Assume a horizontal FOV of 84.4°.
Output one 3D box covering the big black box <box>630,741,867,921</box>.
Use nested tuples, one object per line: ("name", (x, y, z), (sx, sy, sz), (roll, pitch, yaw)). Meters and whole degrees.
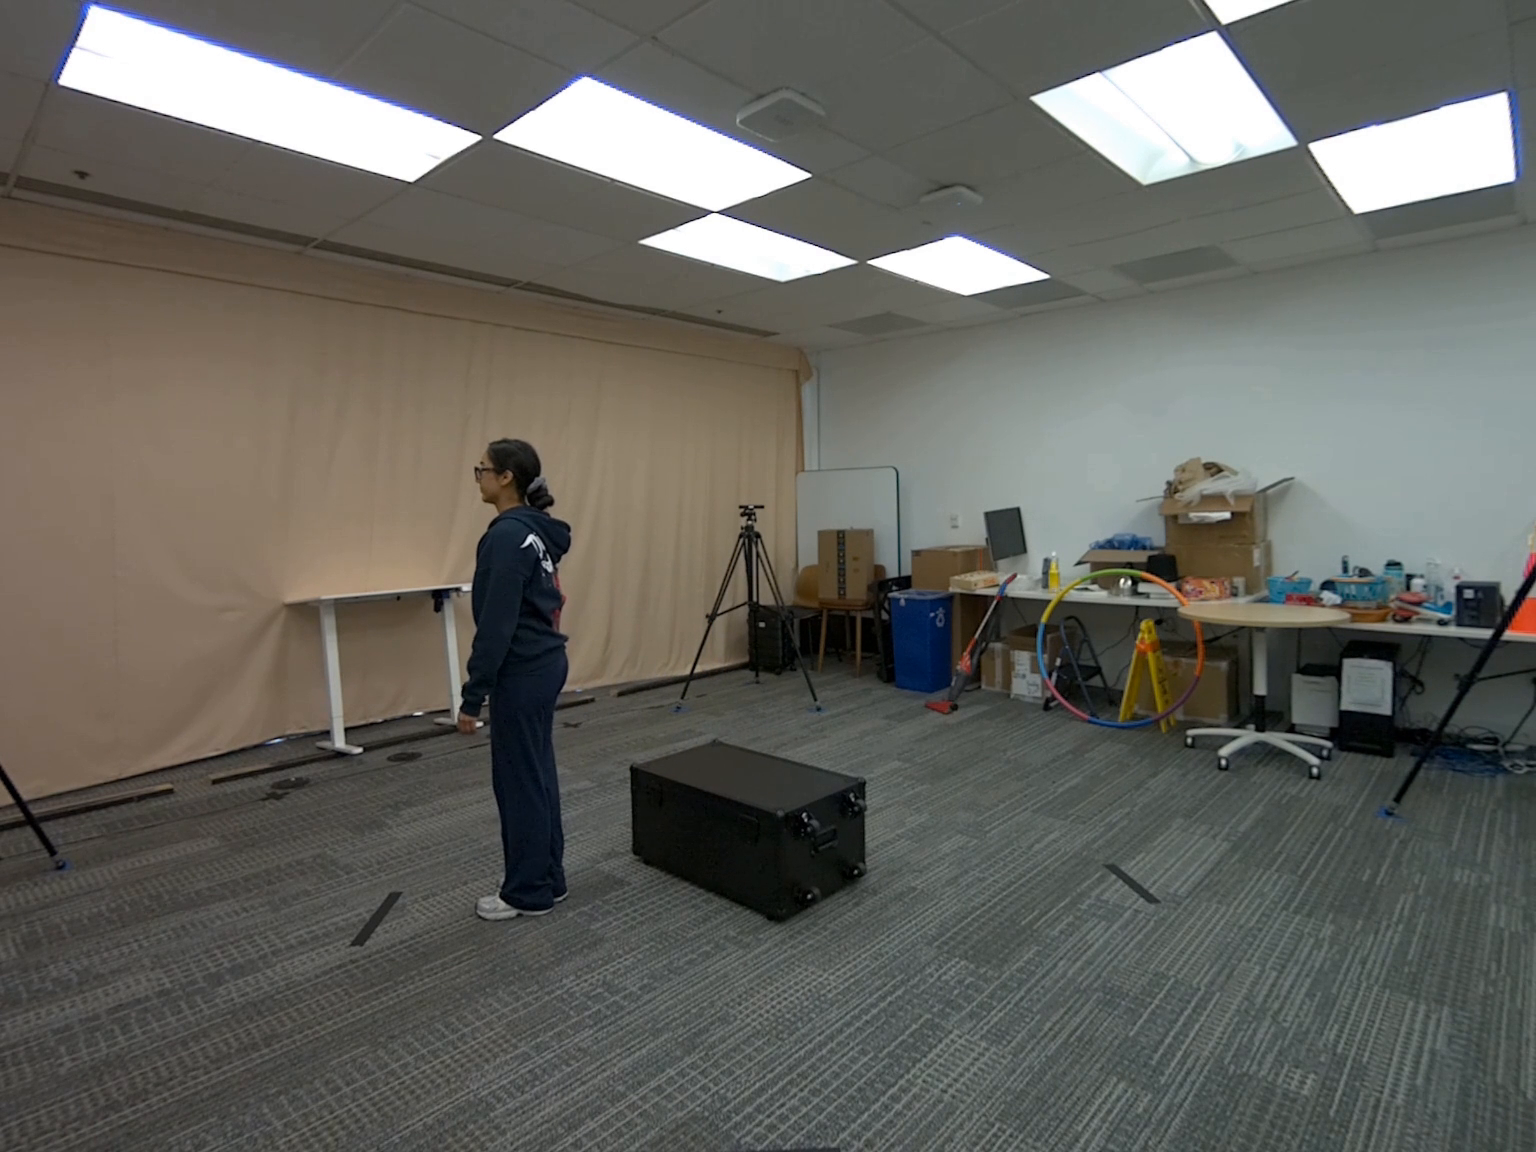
("big black box", (-0.065, 0.933, 3.190), (0.890, 0.395, 0.506), (2, 6, 43))
